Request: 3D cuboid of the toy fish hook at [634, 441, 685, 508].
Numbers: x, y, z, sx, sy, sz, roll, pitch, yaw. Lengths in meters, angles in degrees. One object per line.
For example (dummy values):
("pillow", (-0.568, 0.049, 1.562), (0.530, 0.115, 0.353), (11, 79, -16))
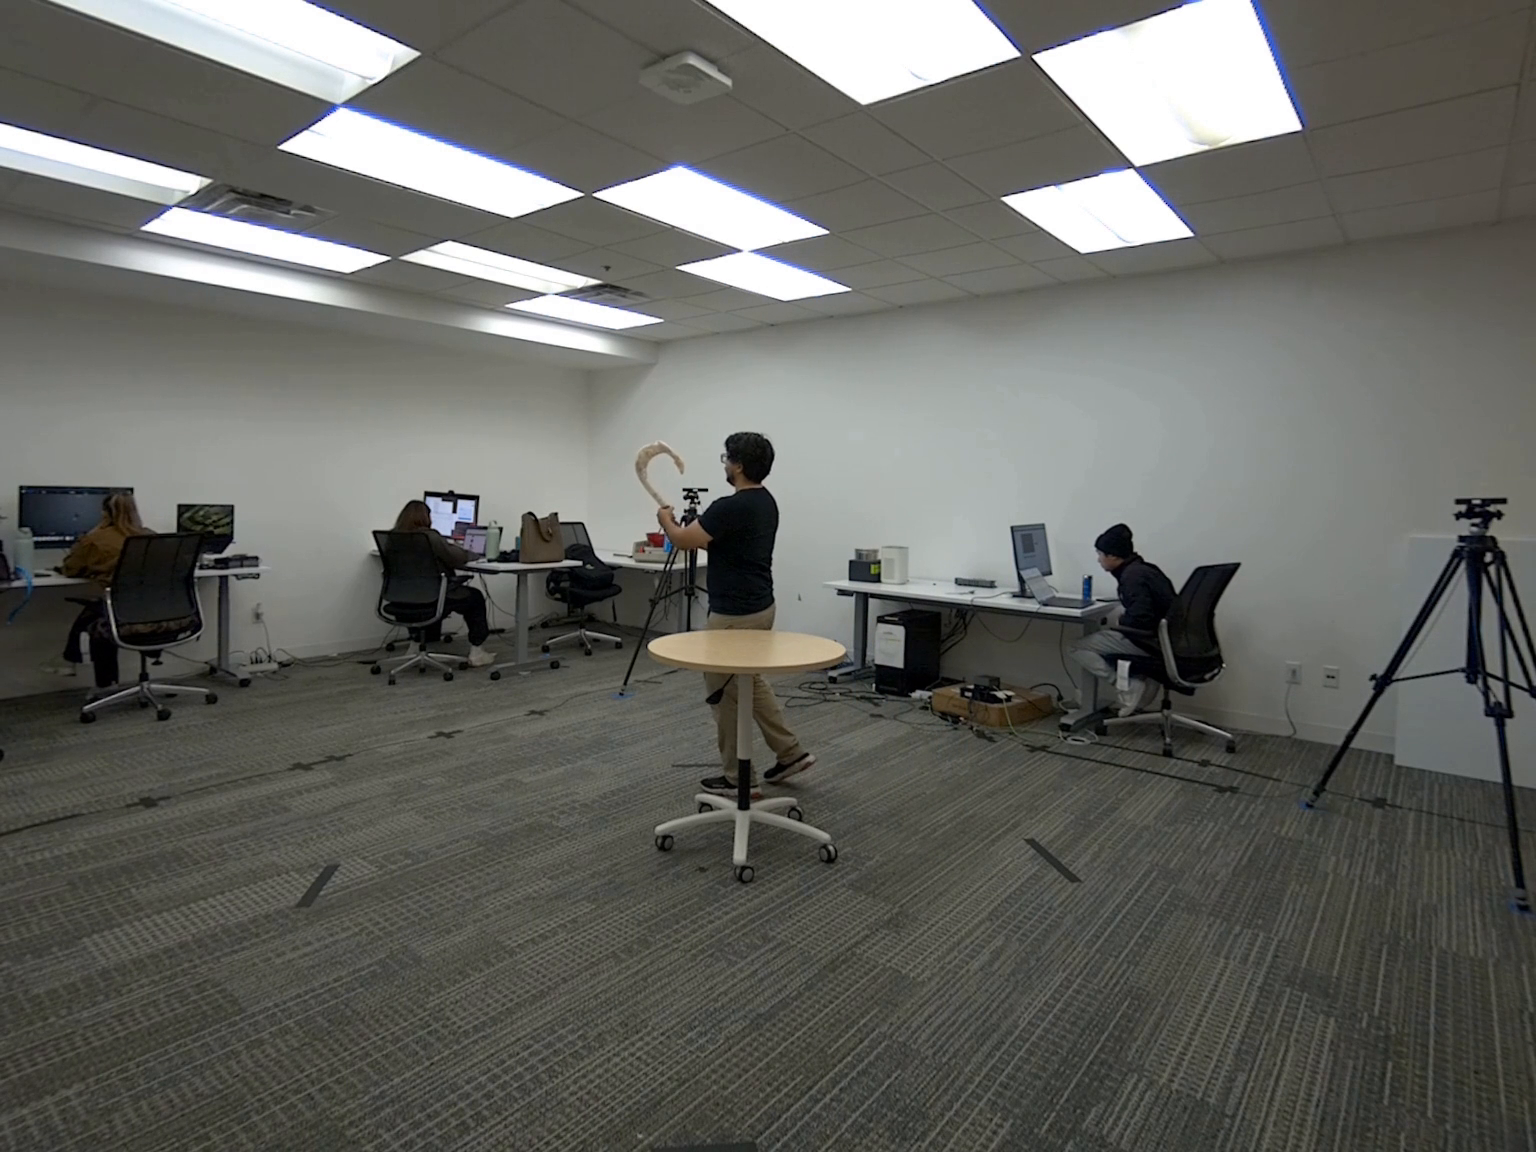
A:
("toy fish hook", (-0.488, -0.405, 4.091), (0.226, 0.508, 0.048), (-21, -2, 9))
